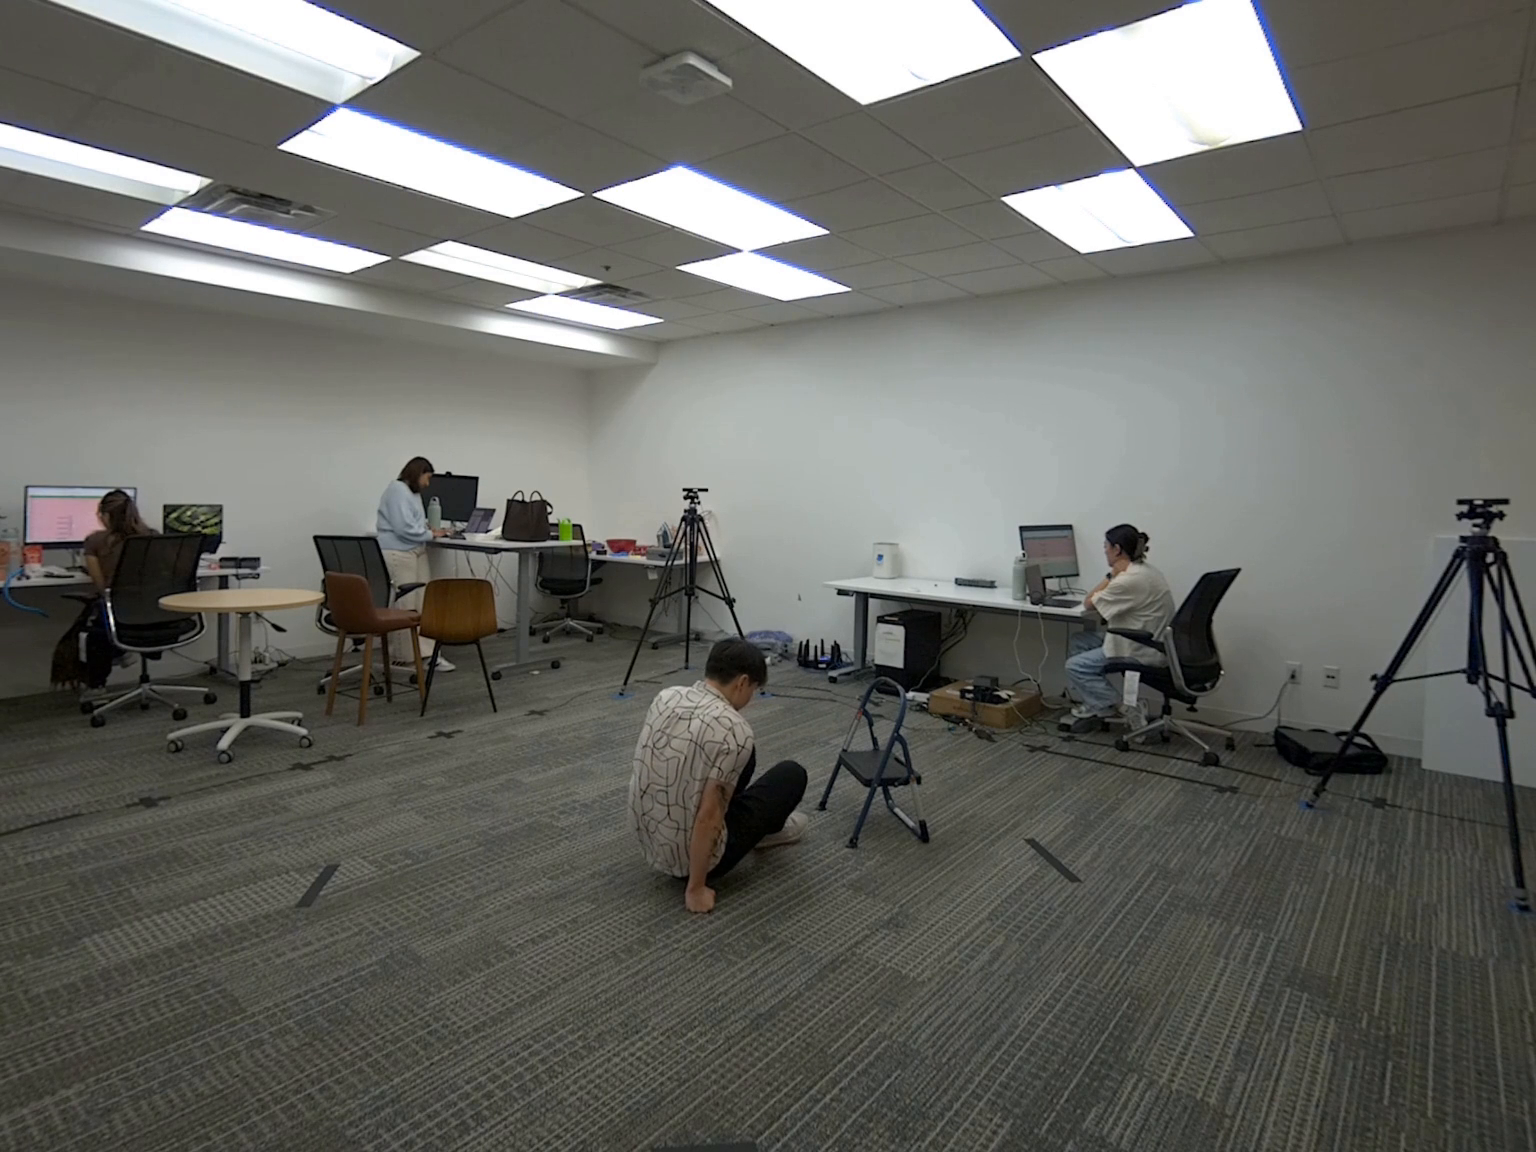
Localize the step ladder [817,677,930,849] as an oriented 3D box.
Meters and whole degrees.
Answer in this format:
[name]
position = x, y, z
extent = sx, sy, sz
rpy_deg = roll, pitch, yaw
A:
[step ladder]
position = 0.432, 0.740, 3.550
extent = 0.345, 0.604, 0.438
rpy_deg = 0, 4, -13
